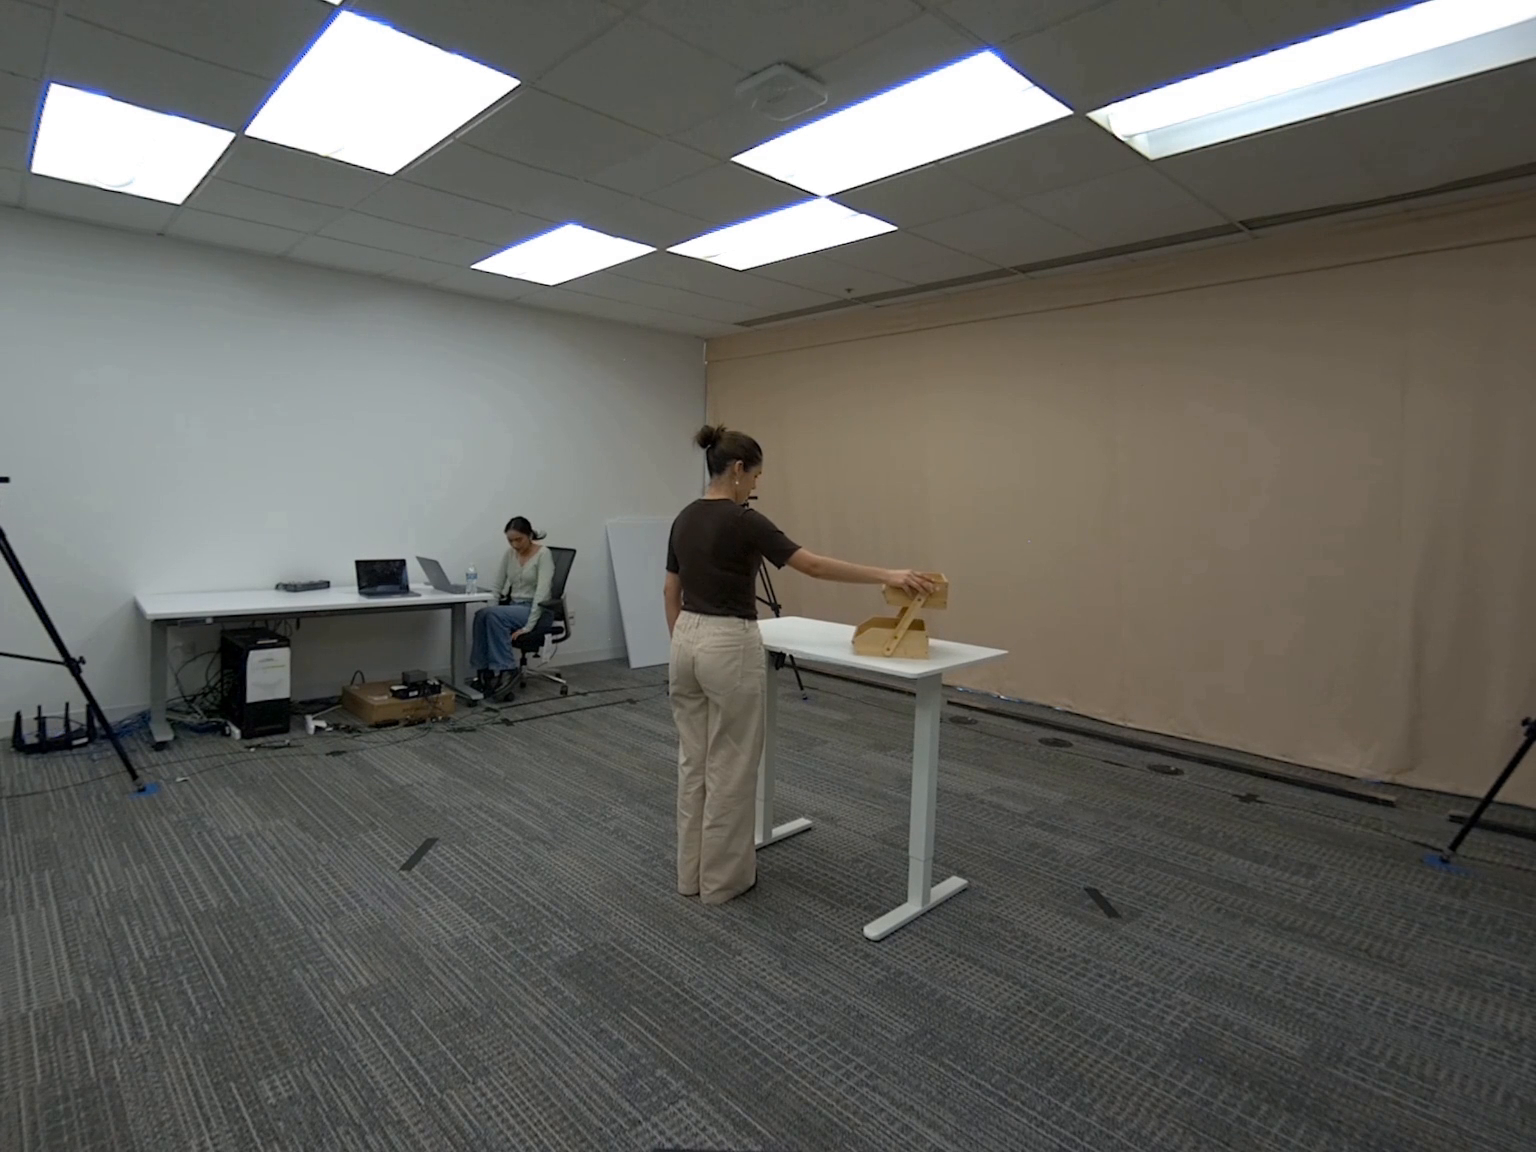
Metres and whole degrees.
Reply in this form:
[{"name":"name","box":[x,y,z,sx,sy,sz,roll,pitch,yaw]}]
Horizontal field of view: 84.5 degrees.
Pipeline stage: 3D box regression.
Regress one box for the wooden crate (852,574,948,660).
[{"name":"wooden crate","box":[0.436,0.124,2.884,0.304,0.272,0.323,4,5,9]}]
